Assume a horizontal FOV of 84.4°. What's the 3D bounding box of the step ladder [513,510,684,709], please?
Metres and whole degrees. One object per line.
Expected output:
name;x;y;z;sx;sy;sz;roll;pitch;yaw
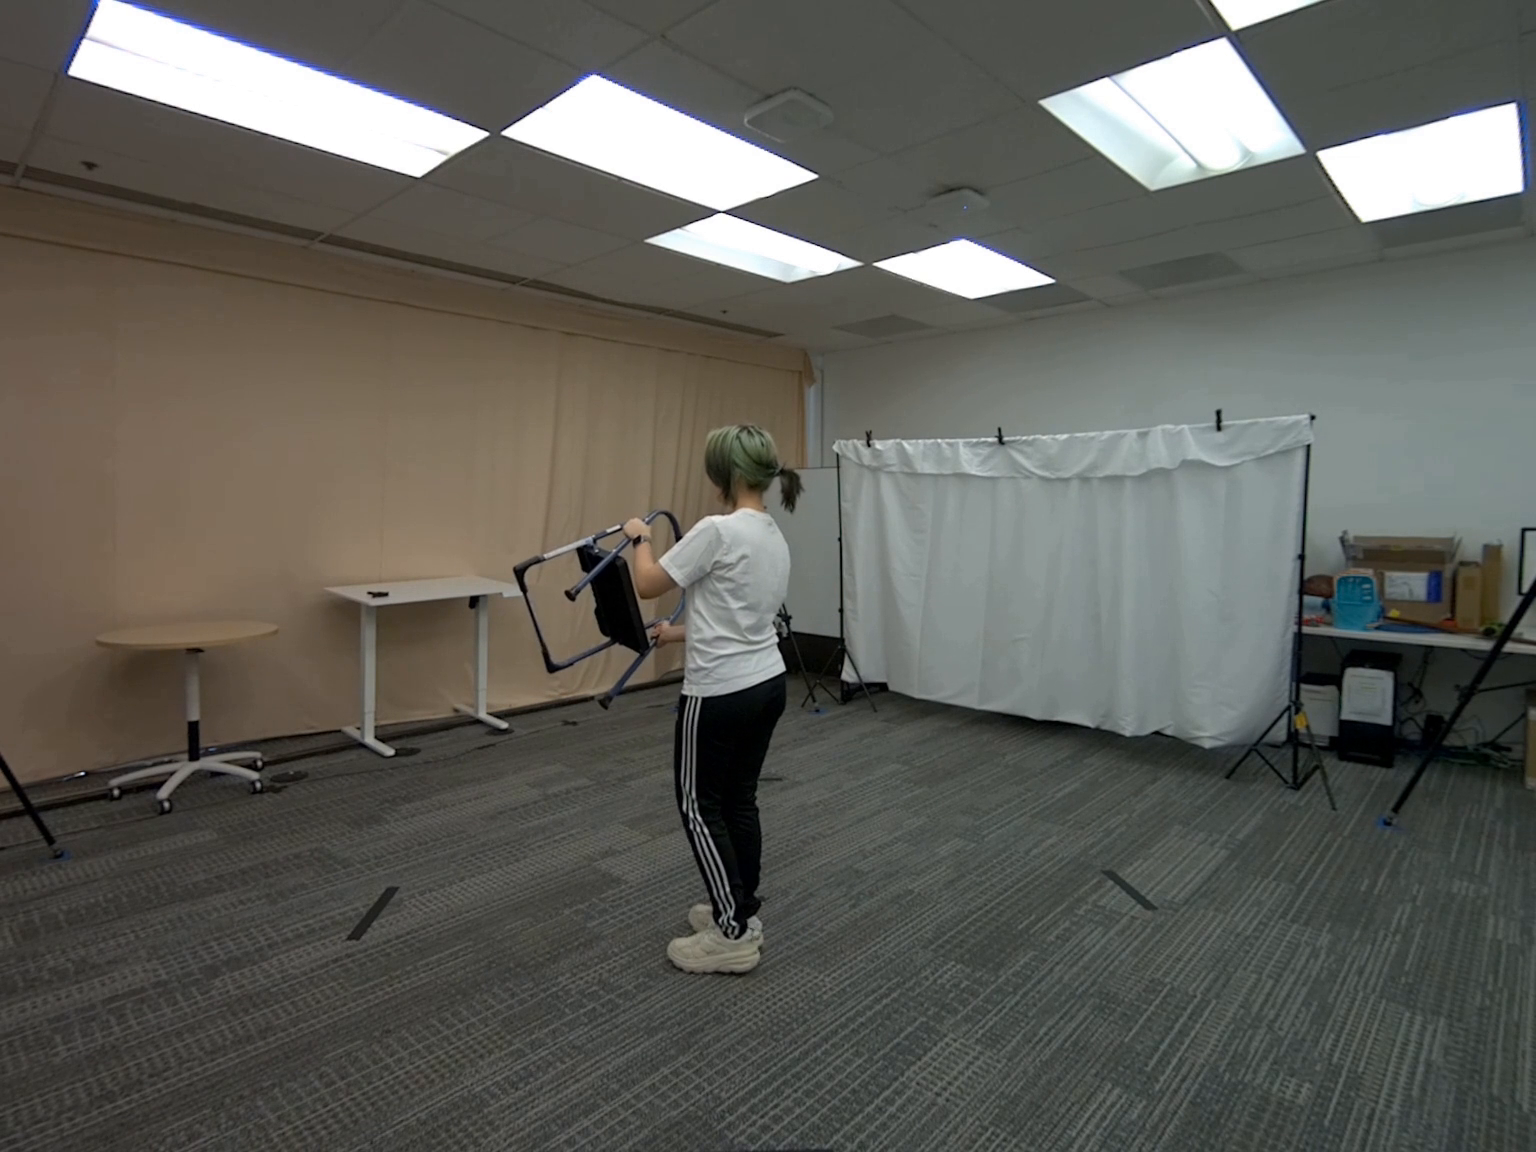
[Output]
step ladder;-0.451;0.051;2.786;0.362;0.422;0.596;18;40;42
